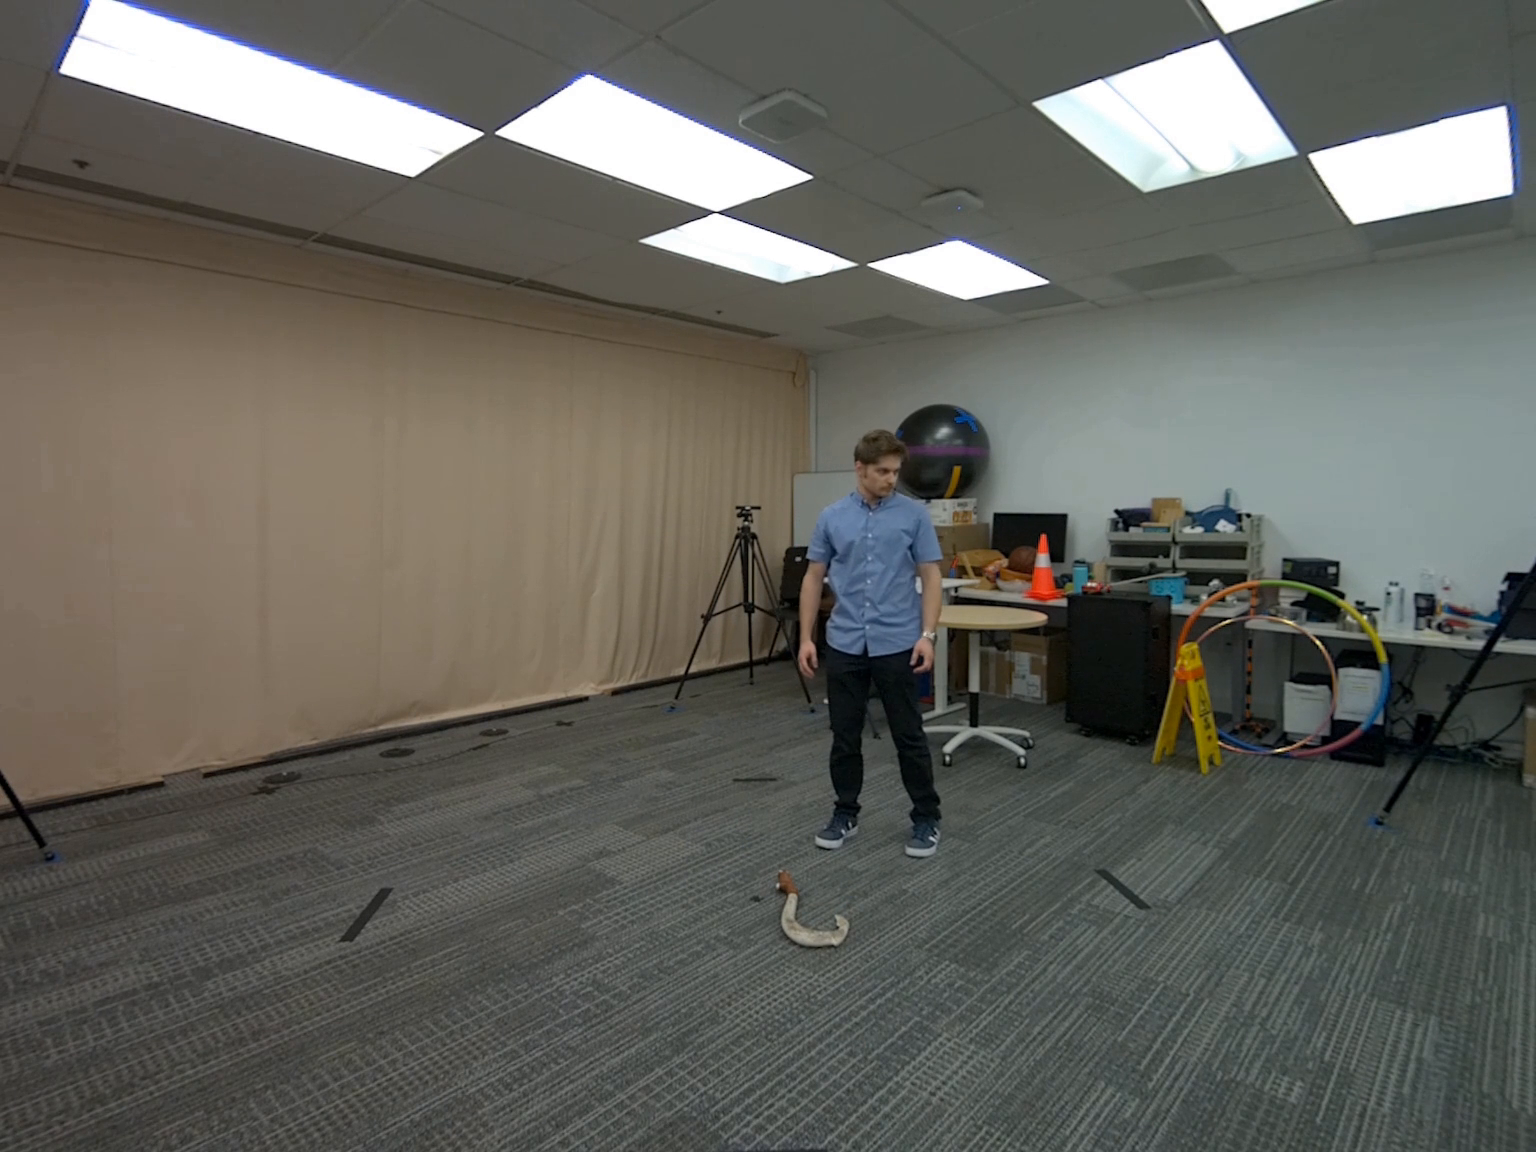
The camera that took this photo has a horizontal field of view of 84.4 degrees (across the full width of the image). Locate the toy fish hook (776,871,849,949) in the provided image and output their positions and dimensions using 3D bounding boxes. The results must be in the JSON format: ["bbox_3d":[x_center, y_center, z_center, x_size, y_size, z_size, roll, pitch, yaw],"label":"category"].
[{"bbox_3d":[0.142,1.135,2.891,0.223,0.048,0.511,8,4,-7],"label":"toy fish hook"}]
